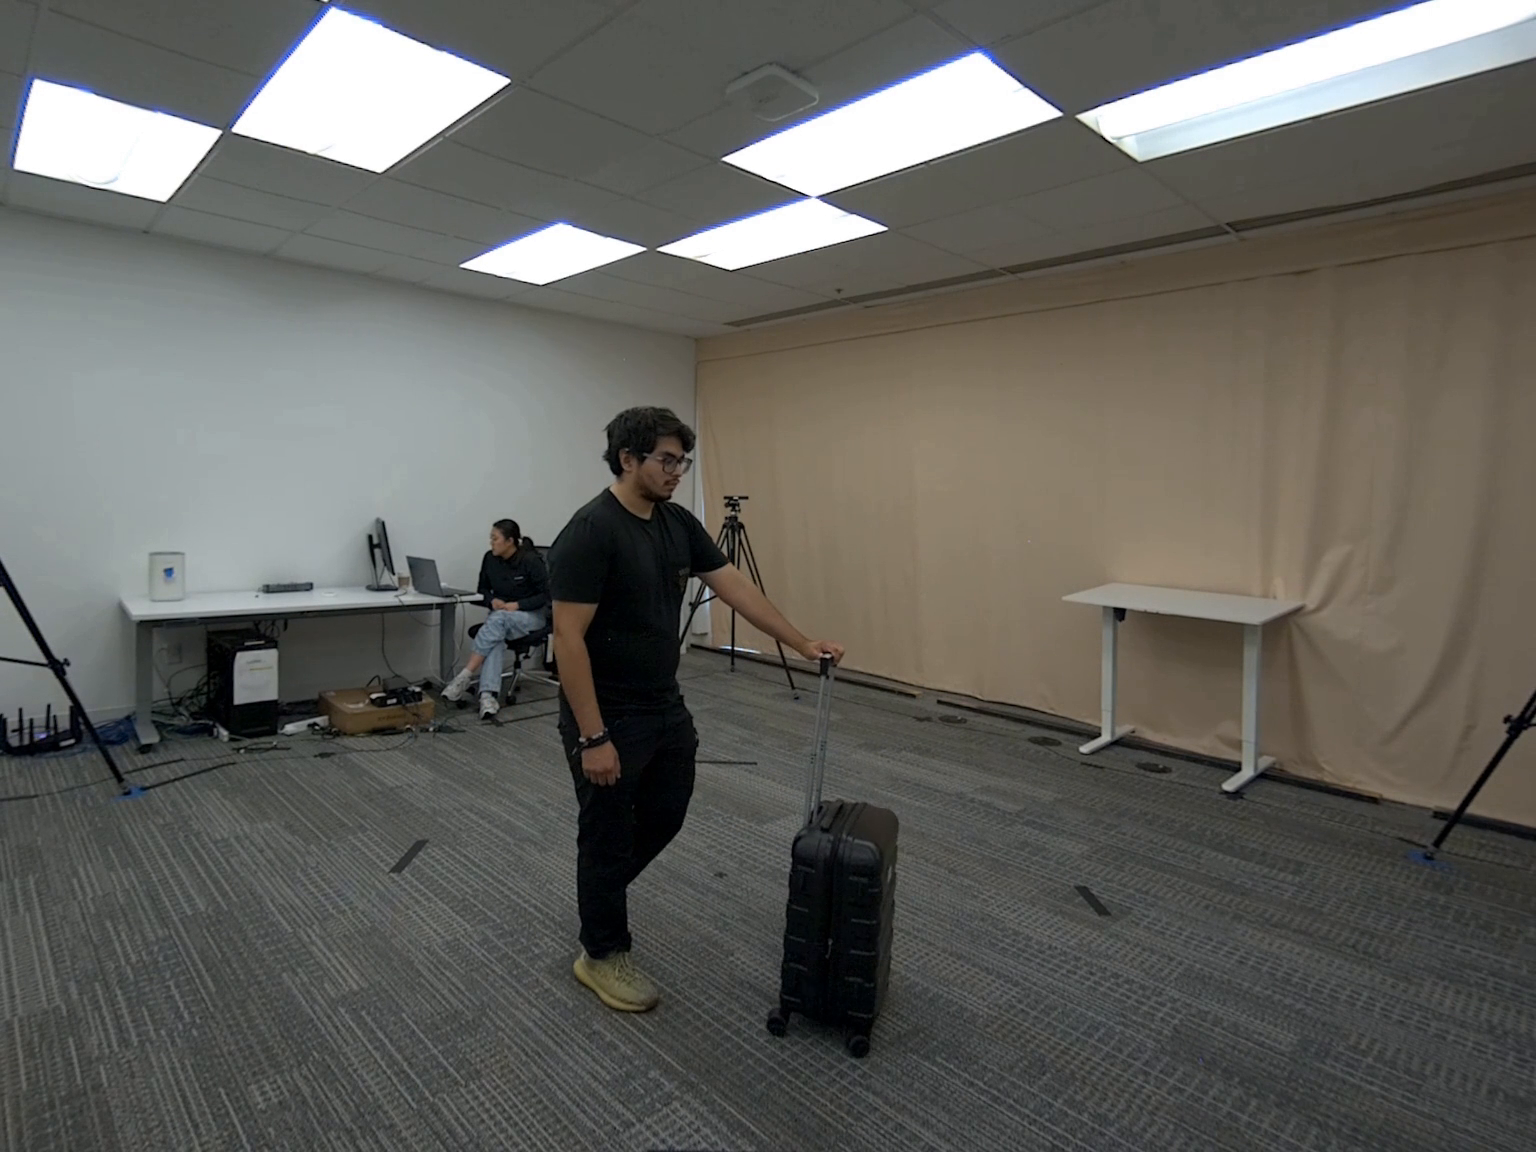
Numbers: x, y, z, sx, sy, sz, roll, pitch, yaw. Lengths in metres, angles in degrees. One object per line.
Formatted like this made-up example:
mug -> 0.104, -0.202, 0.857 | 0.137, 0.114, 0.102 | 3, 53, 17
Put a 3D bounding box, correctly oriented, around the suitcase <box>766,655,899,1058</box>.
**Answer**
suitcase -> 0.218, 0.718, 2.264 | 0.261, 0.976, 0.380 | 8, 4, 15
